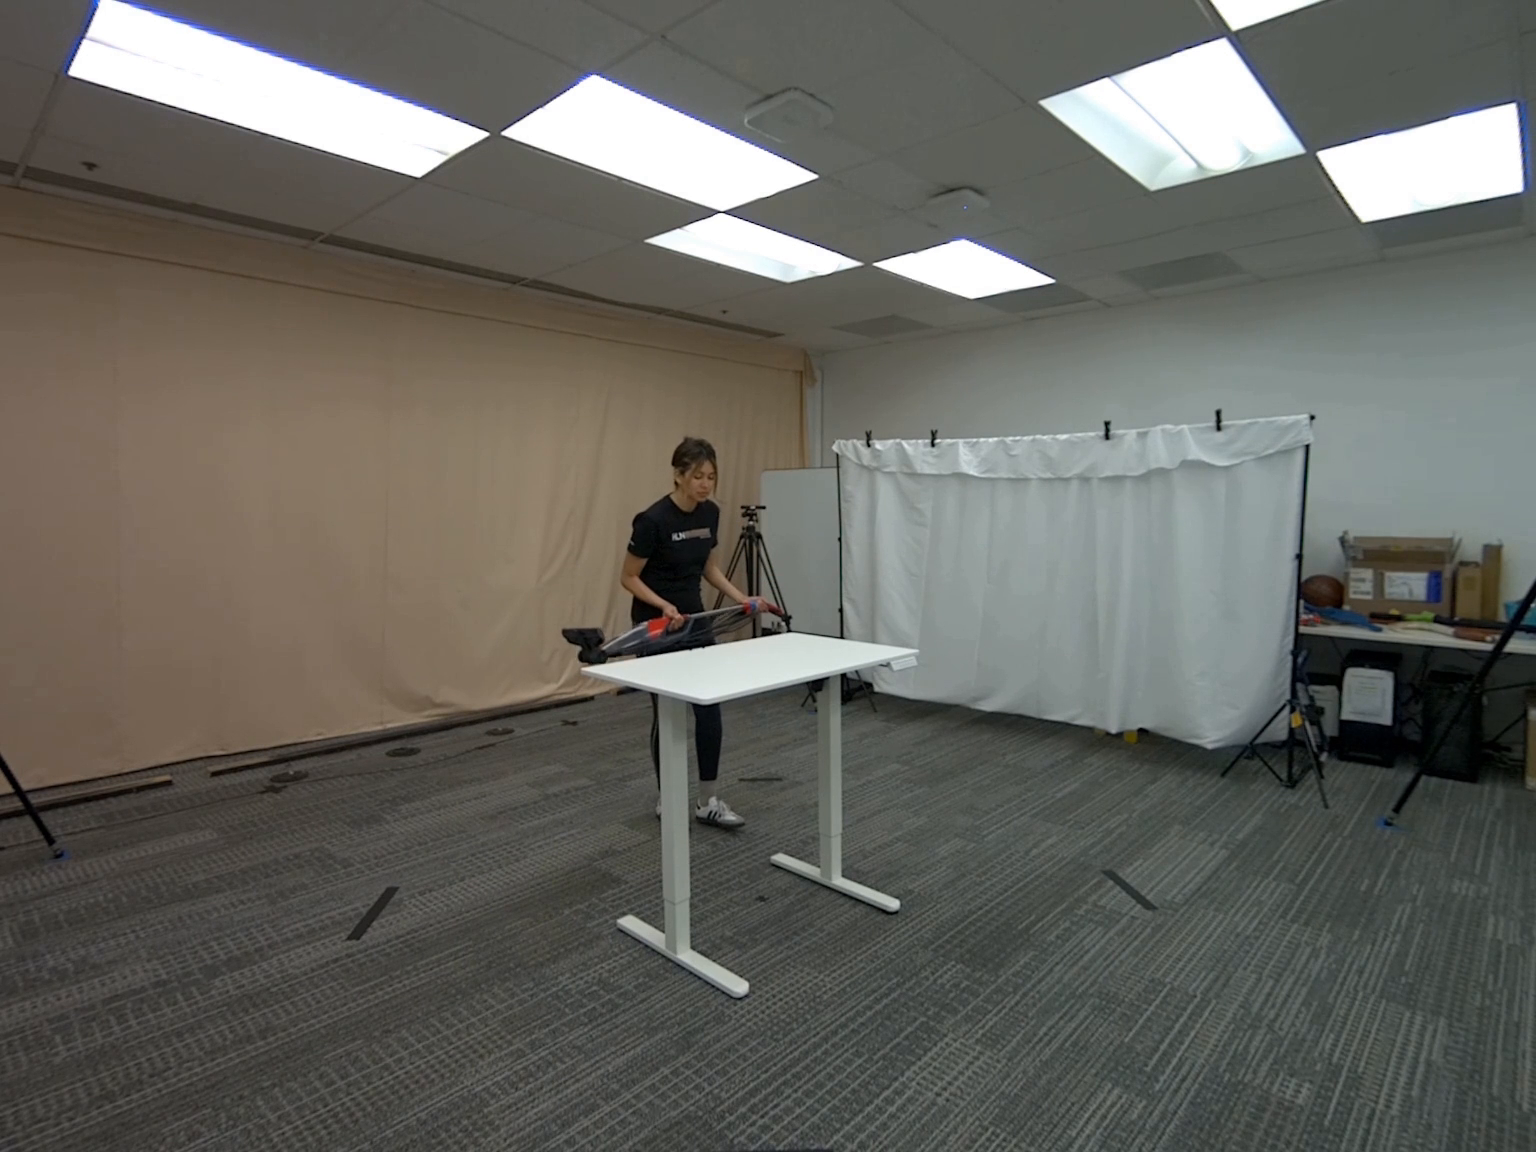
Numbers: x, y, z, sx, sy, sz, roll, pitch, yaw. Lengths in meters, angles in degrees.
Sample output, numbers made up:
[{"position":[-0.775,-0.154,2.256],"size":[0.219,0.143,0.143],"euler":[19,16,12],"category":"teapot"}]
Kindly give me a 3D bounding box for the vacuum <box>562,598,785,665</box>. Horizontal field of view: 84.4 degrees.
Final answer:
[{"position":[-0.318,0.211,3.462],"size":[1.019,0.144,0.260],"euler":[-8,0,-42],"category":"vacuum"}]
